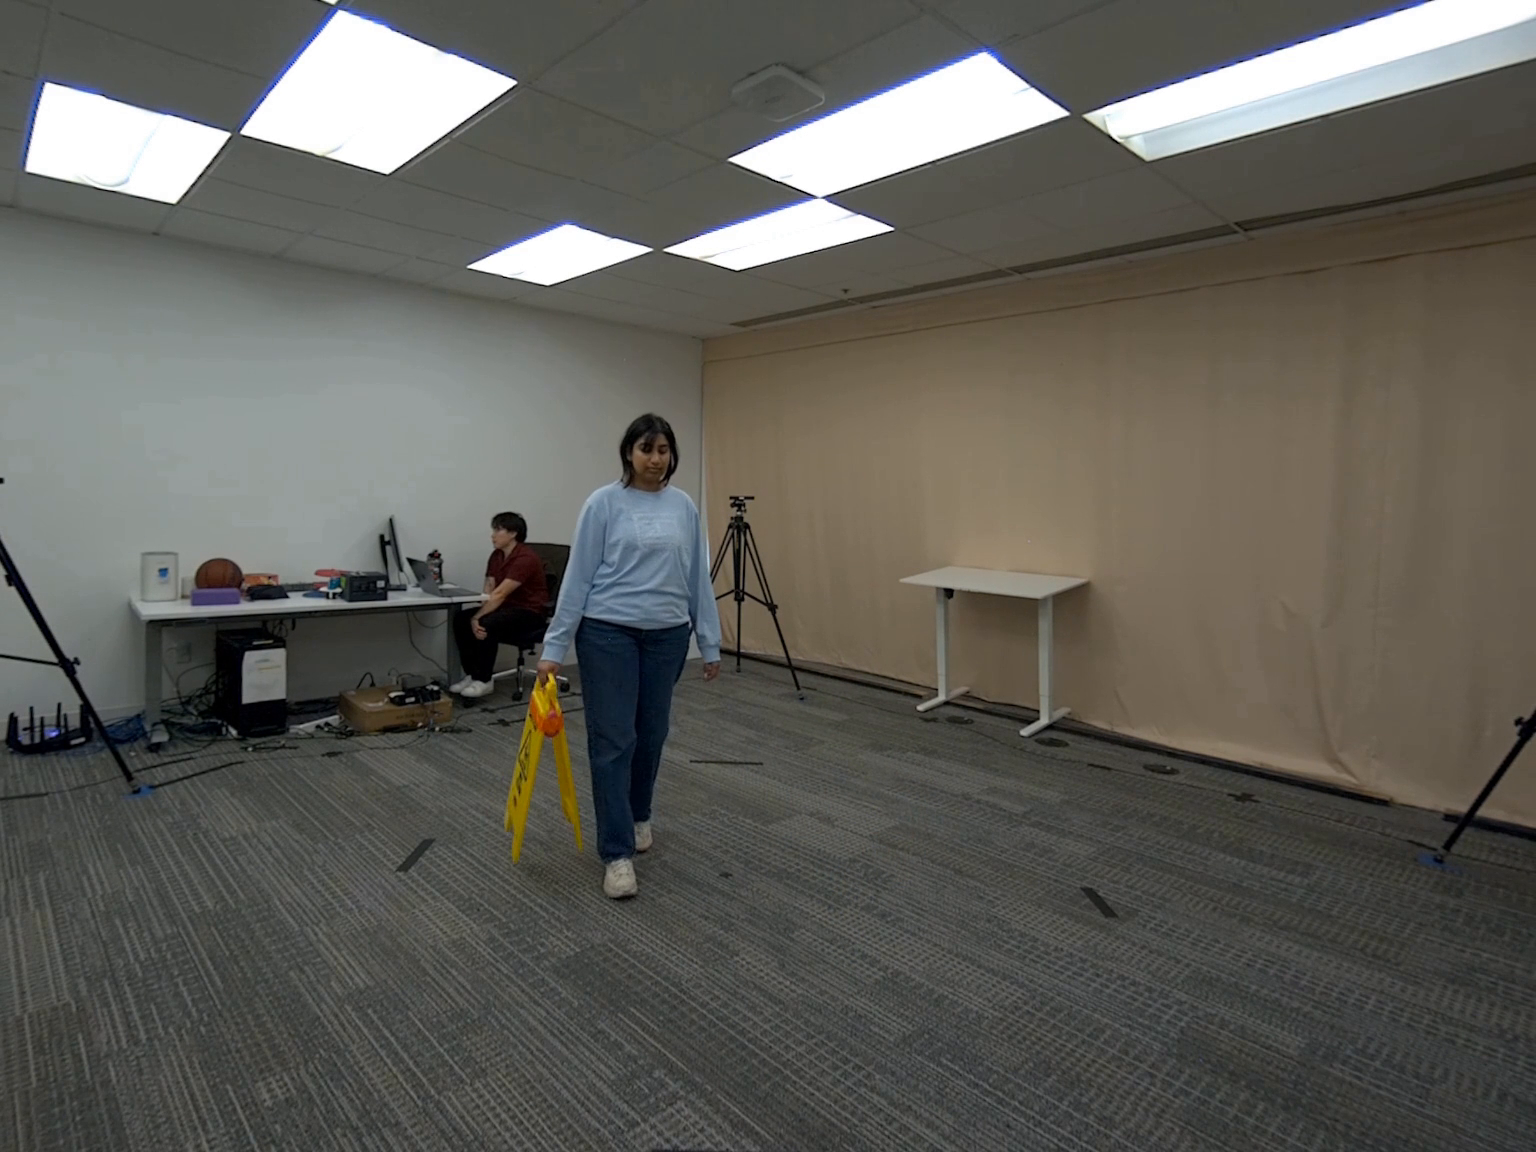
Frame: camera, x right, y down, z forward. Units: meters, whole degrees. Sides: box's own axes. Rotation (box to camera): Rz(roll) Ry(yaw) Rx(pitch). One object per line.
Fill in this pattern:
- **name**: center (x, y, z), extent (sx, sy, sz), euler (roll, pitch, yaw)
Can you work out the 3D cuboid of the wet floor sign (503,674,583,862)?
- **wet floor sign**: center (-0.805, 0.653, 3.029), extent (0.285, 0.640, 0.290), euler (-1, 15, -24)
